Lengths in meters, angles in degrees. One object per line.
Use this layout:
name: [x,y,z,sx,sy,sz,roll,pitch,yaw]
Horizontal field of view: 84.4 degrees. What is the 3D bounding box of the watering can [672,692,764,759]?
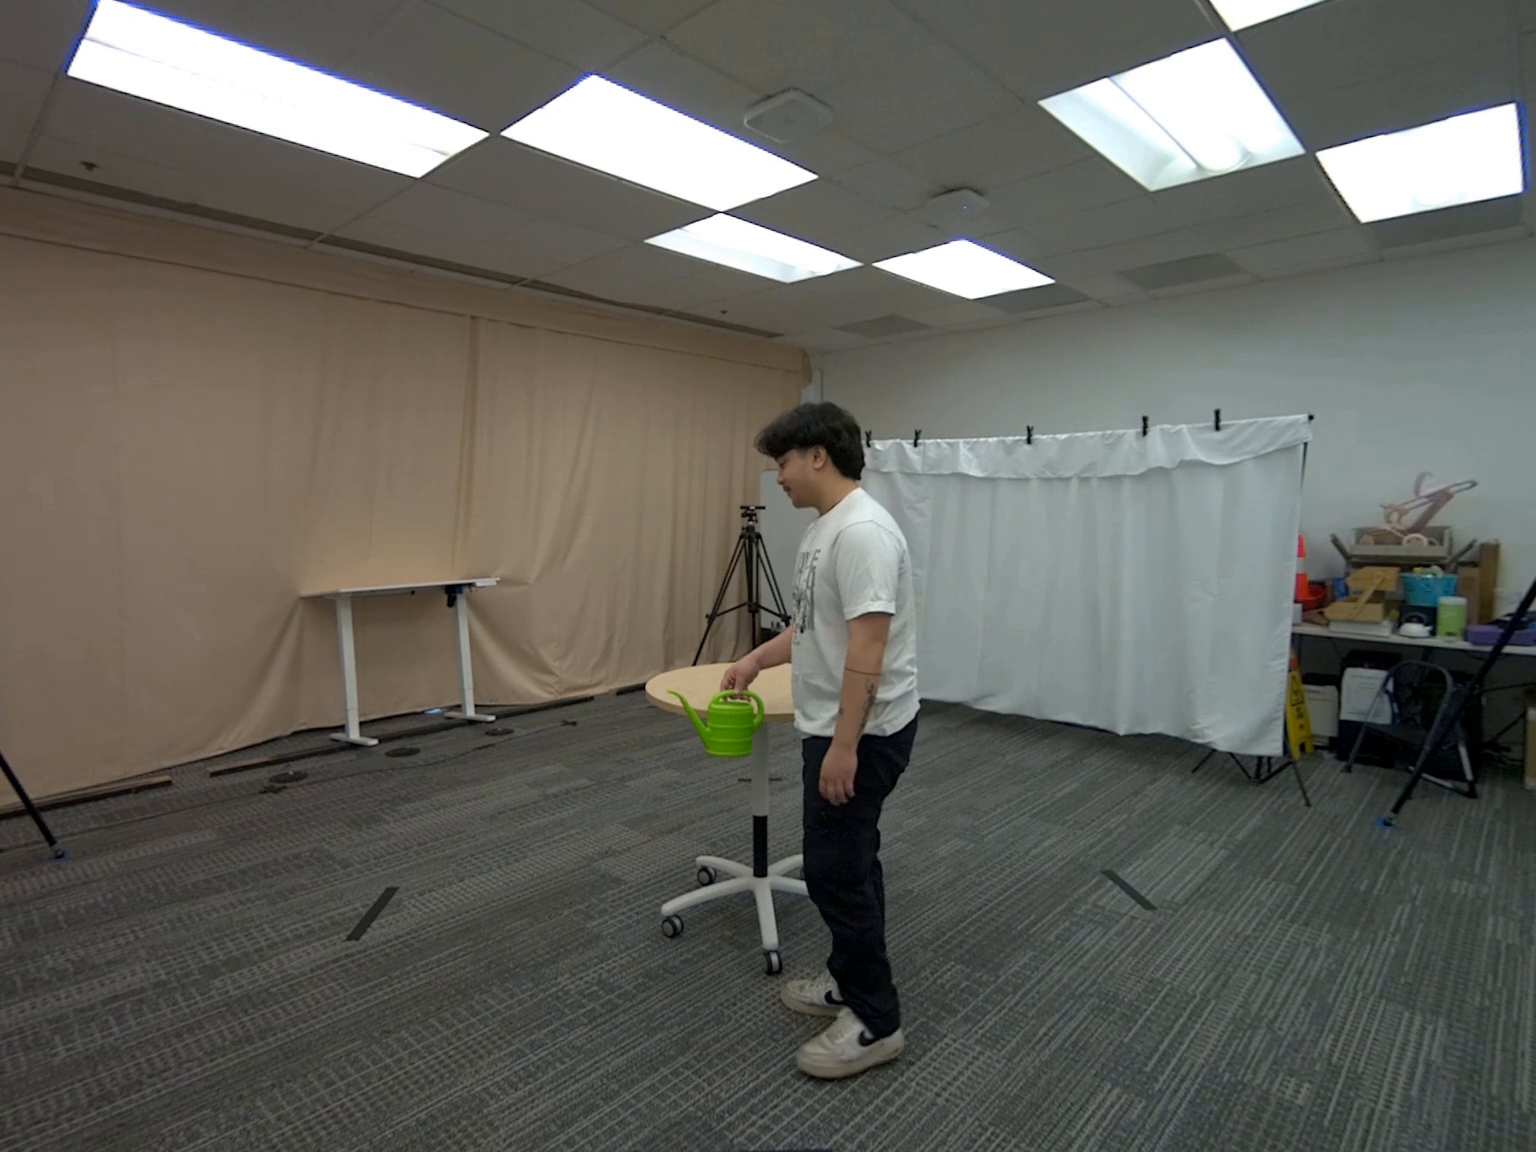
watering can: [-0.134,0.401,2.293,0.276,0.177,0.099,4,1,-6]
